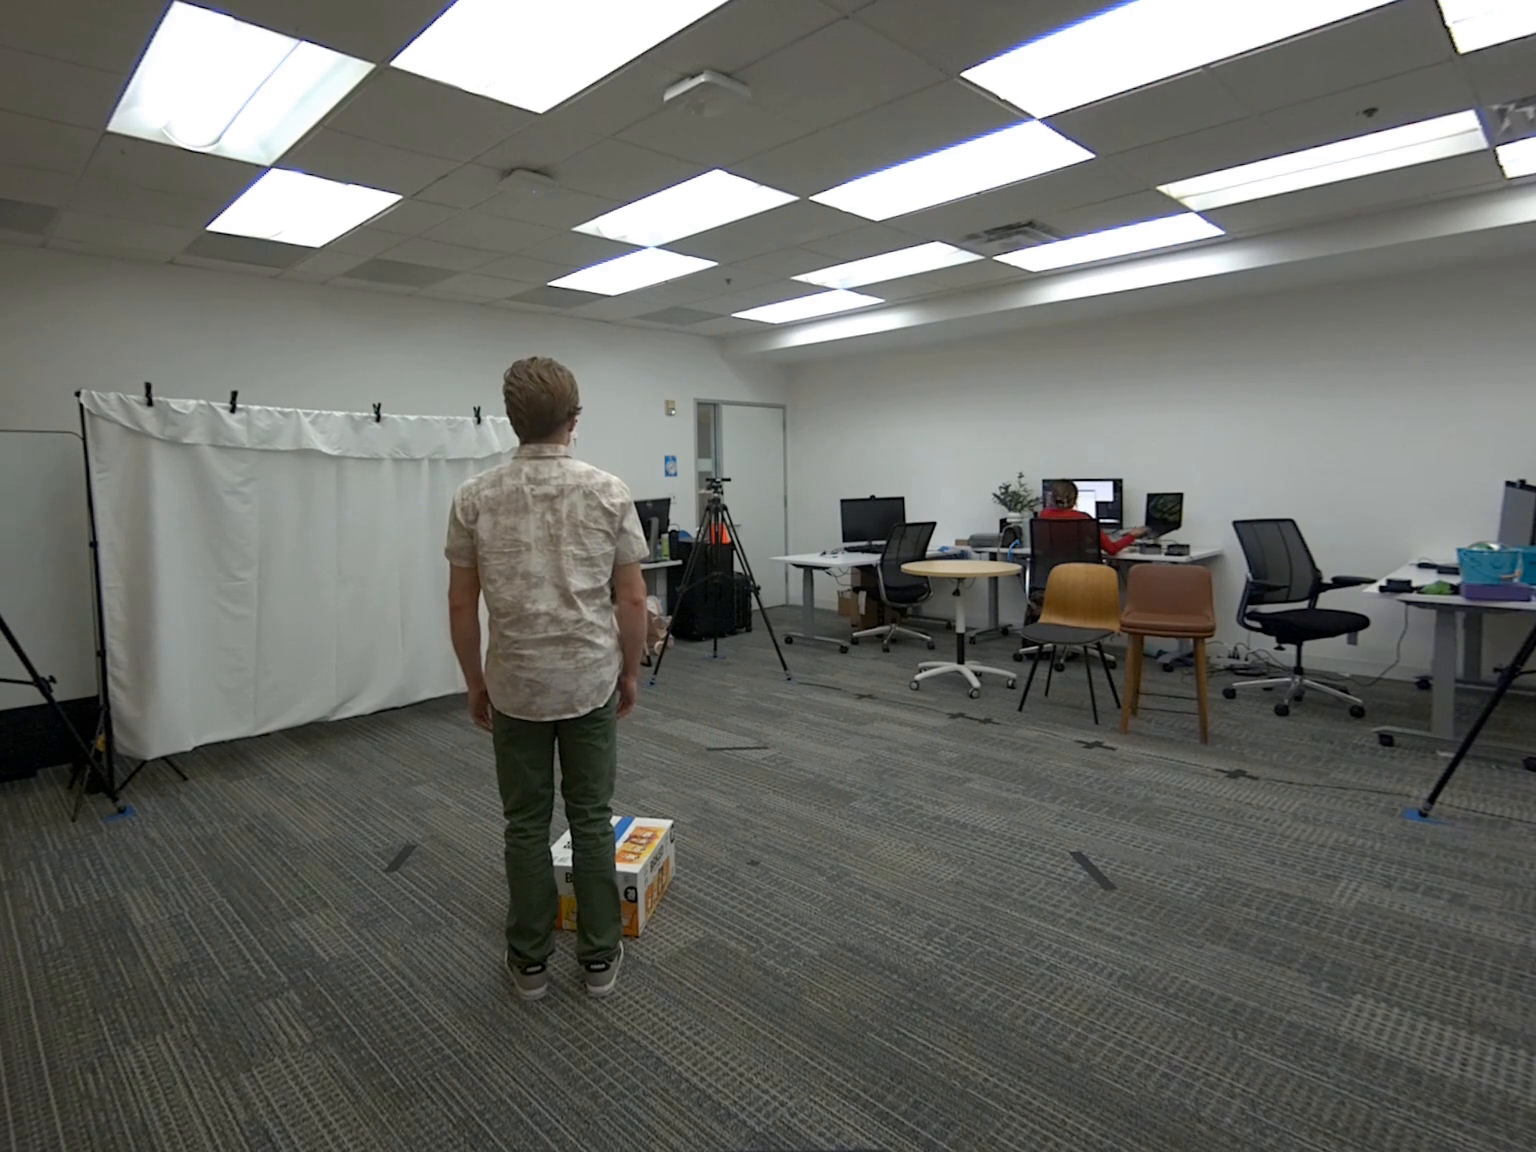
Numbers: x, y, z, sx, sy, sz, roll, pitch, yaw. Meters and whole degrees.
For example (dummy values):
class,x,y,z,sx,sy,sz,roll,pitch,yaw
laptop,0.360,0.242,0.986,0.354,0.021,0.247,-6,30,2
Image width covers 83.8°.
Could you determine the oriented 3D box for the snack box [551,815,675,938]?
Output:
class,x,y,z,sx,sy,sz,roll,pitch,yaw
snack box,-0.526,0.979,2.839,0.344,0.204,0.402,0,7,11
